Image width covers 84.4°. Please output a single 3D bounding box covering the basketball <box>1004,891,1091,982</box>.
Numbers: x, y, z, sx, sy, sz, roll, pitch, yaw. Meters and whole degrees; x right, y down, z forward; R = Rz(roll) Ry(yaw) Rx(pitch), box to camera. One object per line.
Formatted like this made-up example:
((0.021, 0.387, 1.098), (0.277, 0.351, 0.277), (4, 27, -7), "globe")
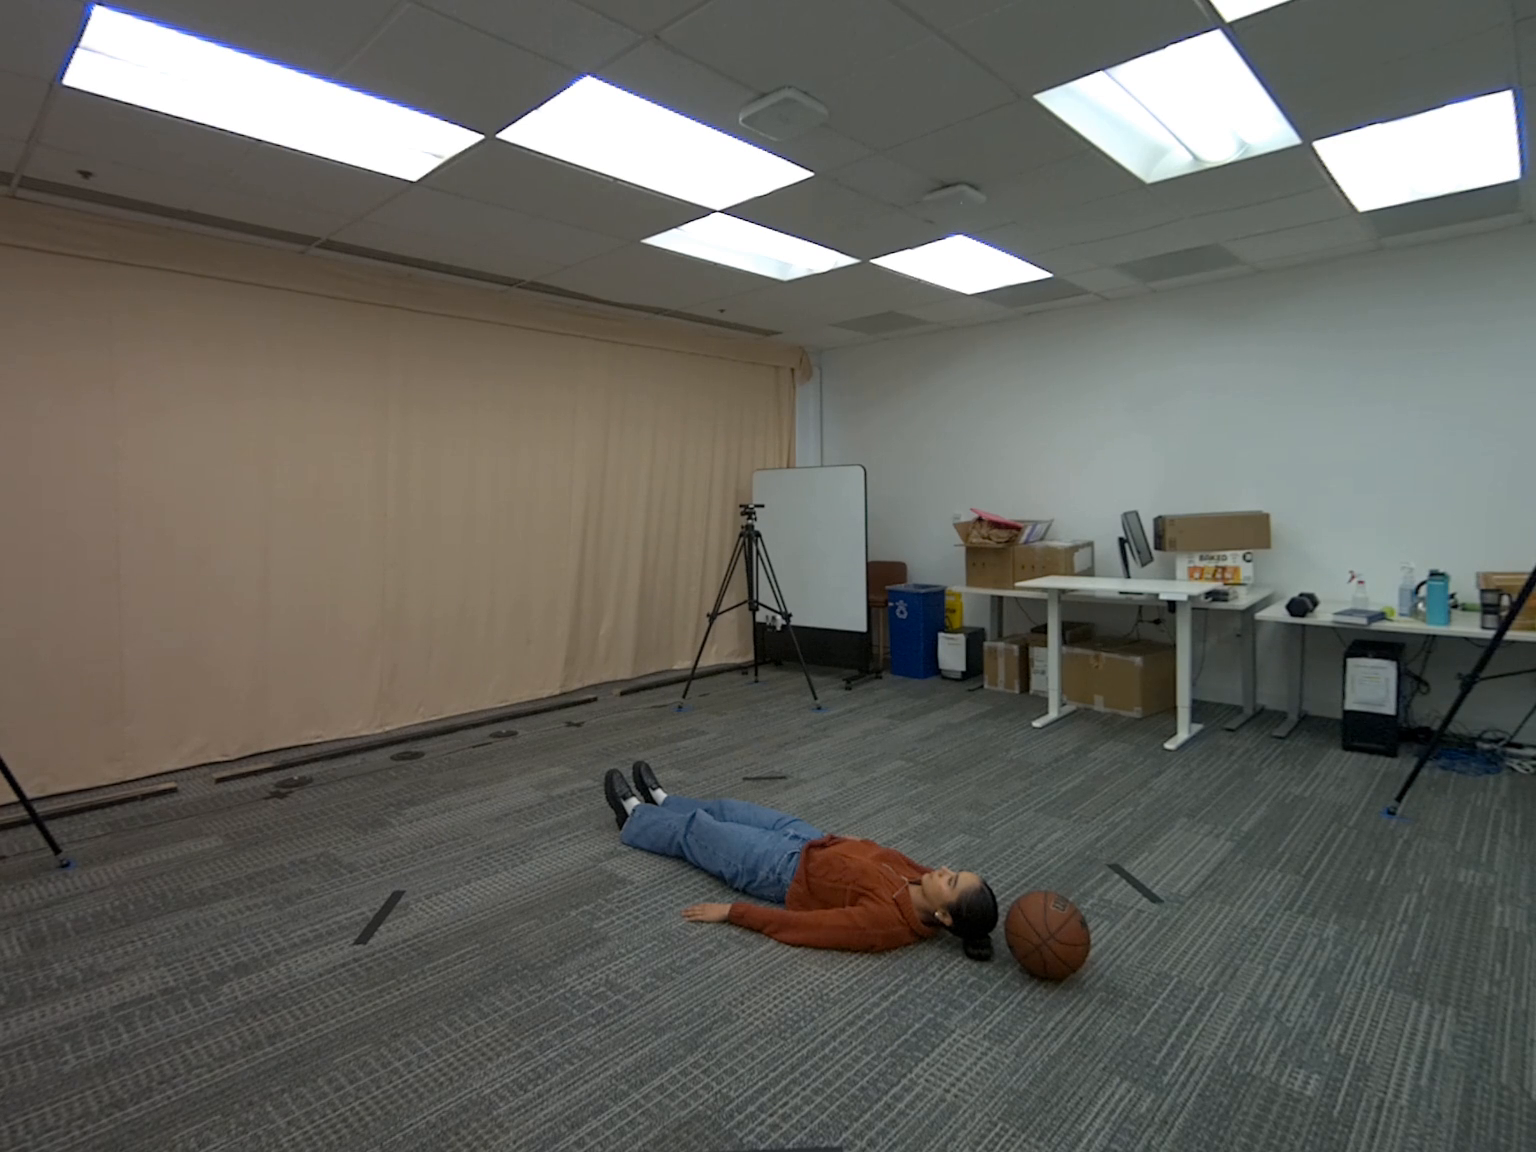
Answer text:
((0.816, 1.049, 2.471), (0.235, 0.235, 0.237), (2, 5, -2), "basketball")
